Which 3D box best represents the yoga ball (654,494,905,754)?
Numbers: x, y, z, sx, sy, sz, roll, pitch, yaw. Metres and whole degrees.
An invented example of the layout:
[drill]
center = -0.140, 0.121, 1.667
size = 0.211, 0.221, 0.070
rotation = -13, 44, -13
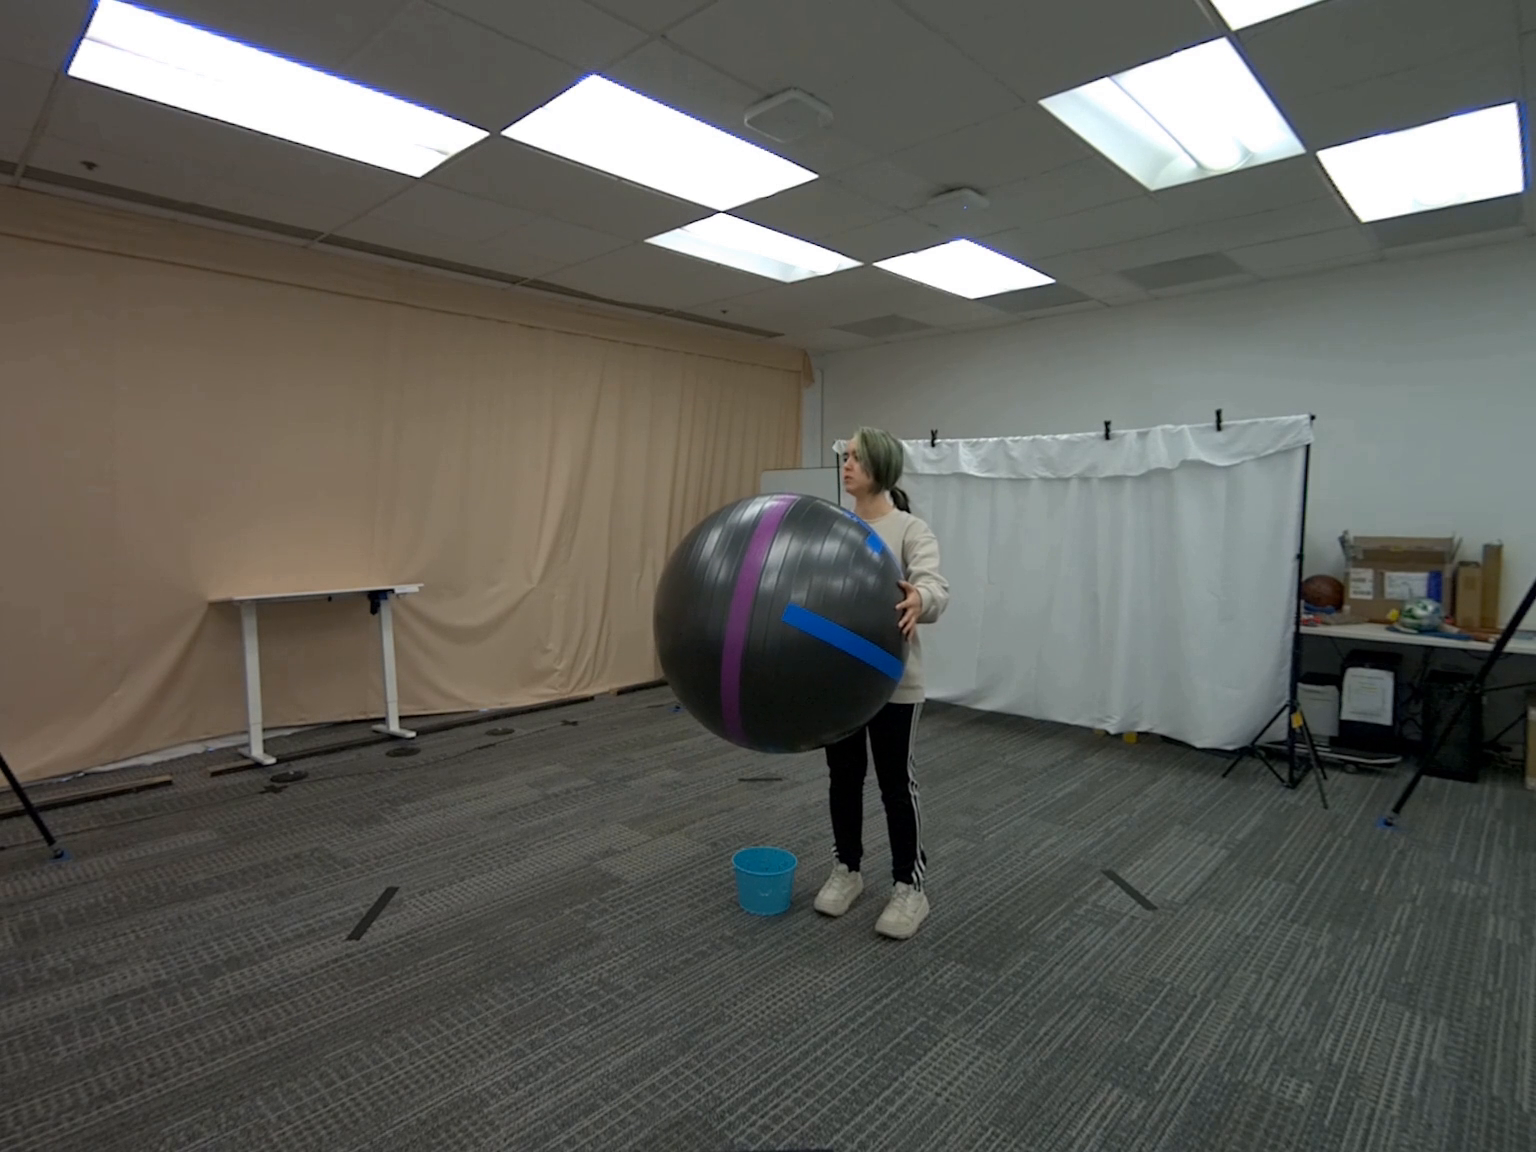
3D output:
[yoga ball]
center = 0.038, 0.142, 2.479
size = 0.757, 0.756, 0.760
rotation = 0, 4, -2
